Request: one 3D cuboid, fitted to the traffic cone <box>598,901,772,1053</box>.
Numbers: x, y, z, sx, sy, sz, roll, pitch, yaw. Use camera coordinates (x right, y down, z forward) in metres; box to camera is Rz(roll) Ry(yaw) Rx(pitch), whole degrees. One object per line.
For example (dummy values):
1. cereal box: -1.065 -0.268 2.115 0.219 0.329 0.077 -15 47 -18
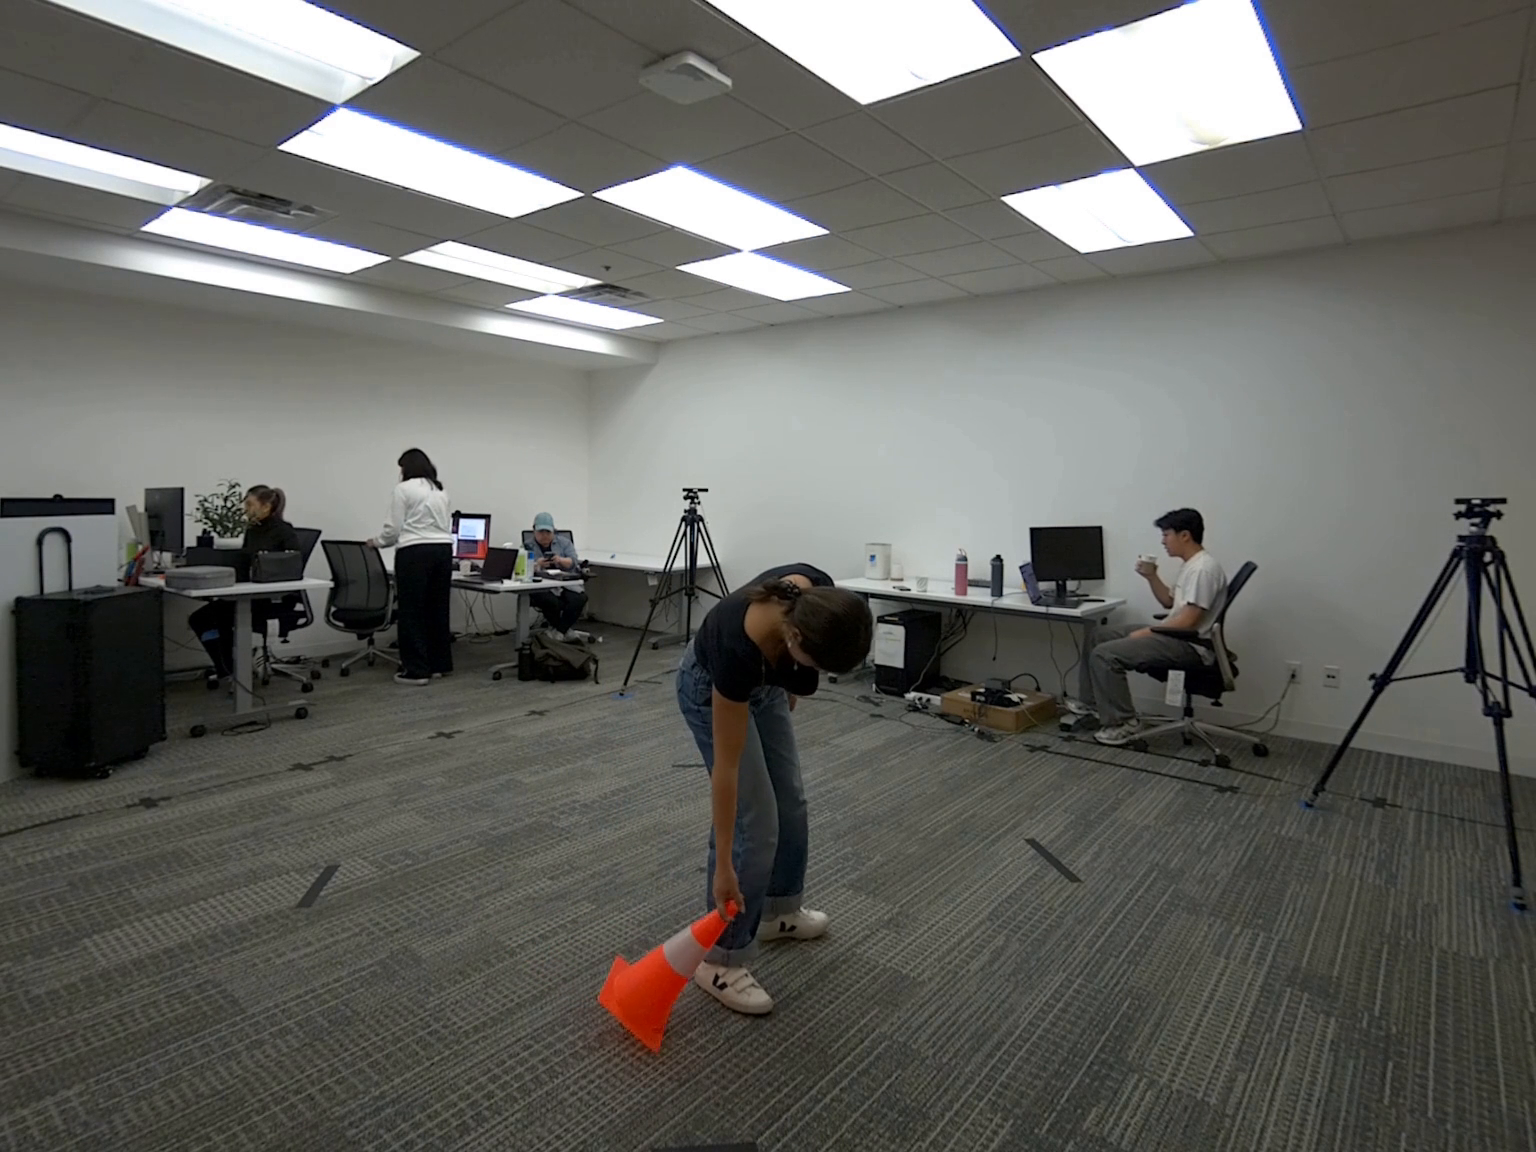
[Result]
1. traffic cone: -0.216 0.956 2.164 0.203 0.383 0.205 40 10 -7
